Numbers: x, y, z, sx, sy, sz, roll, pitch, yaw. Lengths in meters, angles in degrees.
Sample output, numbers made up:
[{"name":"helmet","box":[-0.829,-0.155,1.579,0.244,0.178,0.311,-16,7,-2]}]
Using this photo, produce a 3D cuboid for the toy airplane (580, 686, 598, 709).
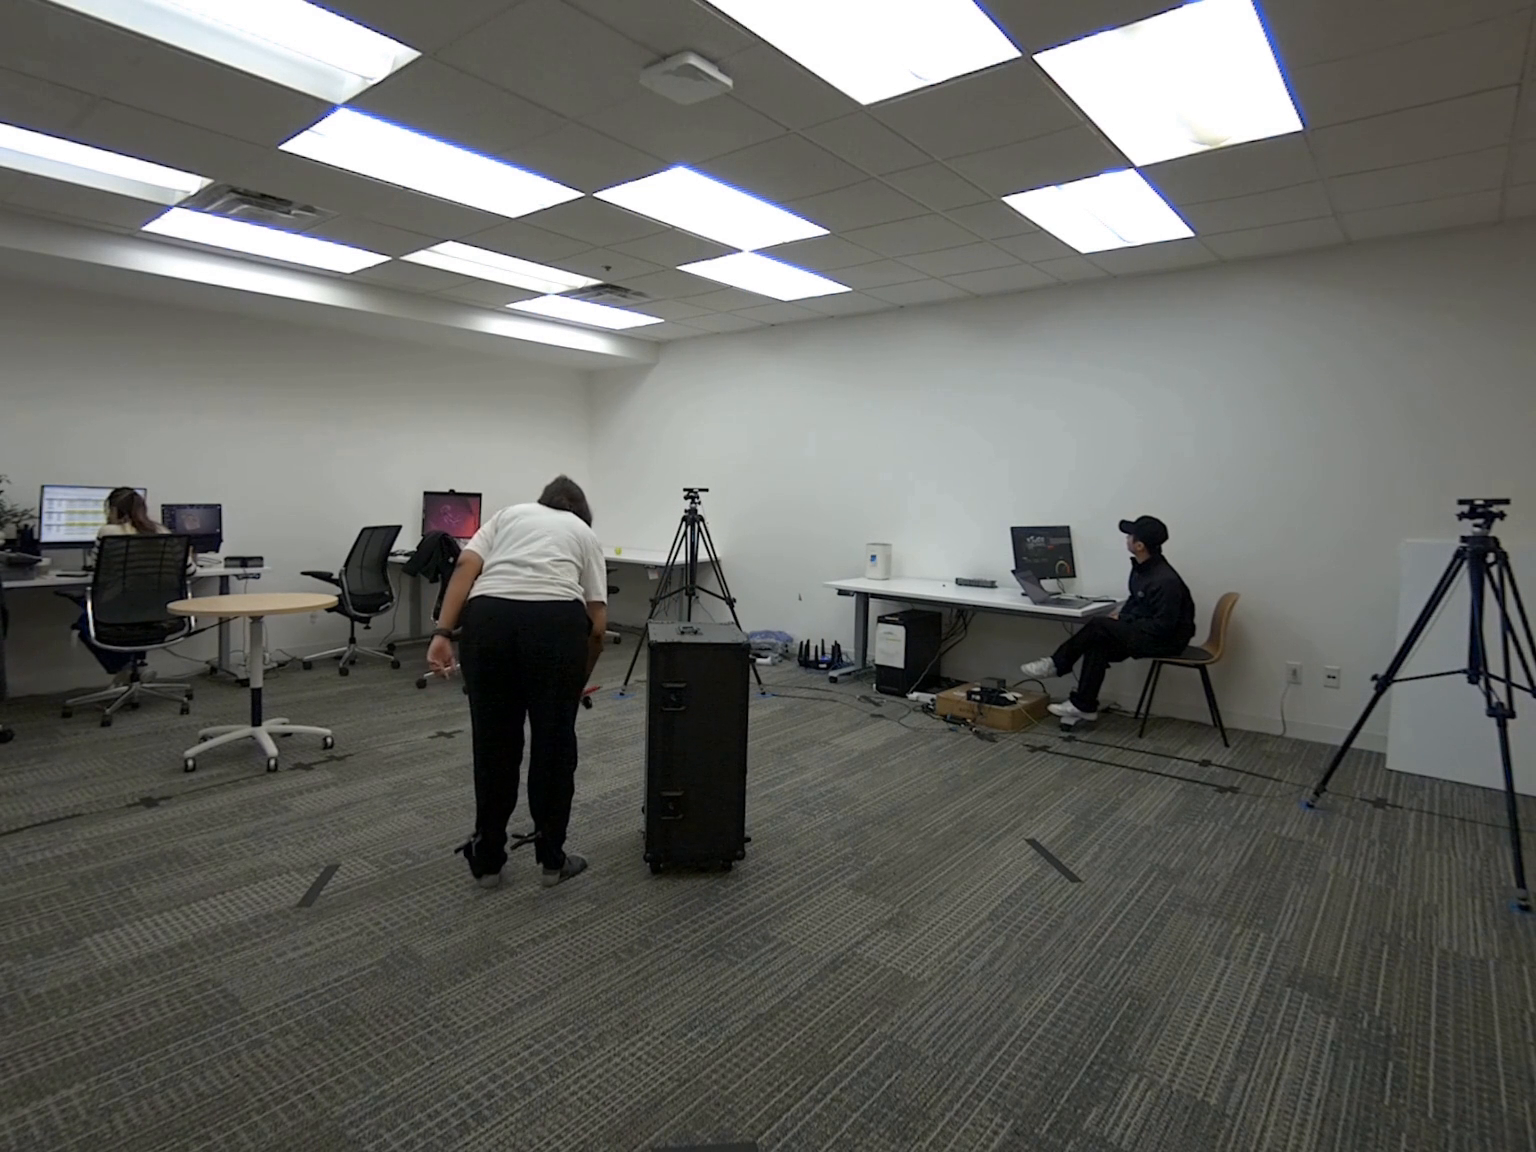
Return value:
[{"name":"toy airplane","box":[-0.783,0.450,3.368,0.246,0.160,0.259,-14,-17,-26]}]
